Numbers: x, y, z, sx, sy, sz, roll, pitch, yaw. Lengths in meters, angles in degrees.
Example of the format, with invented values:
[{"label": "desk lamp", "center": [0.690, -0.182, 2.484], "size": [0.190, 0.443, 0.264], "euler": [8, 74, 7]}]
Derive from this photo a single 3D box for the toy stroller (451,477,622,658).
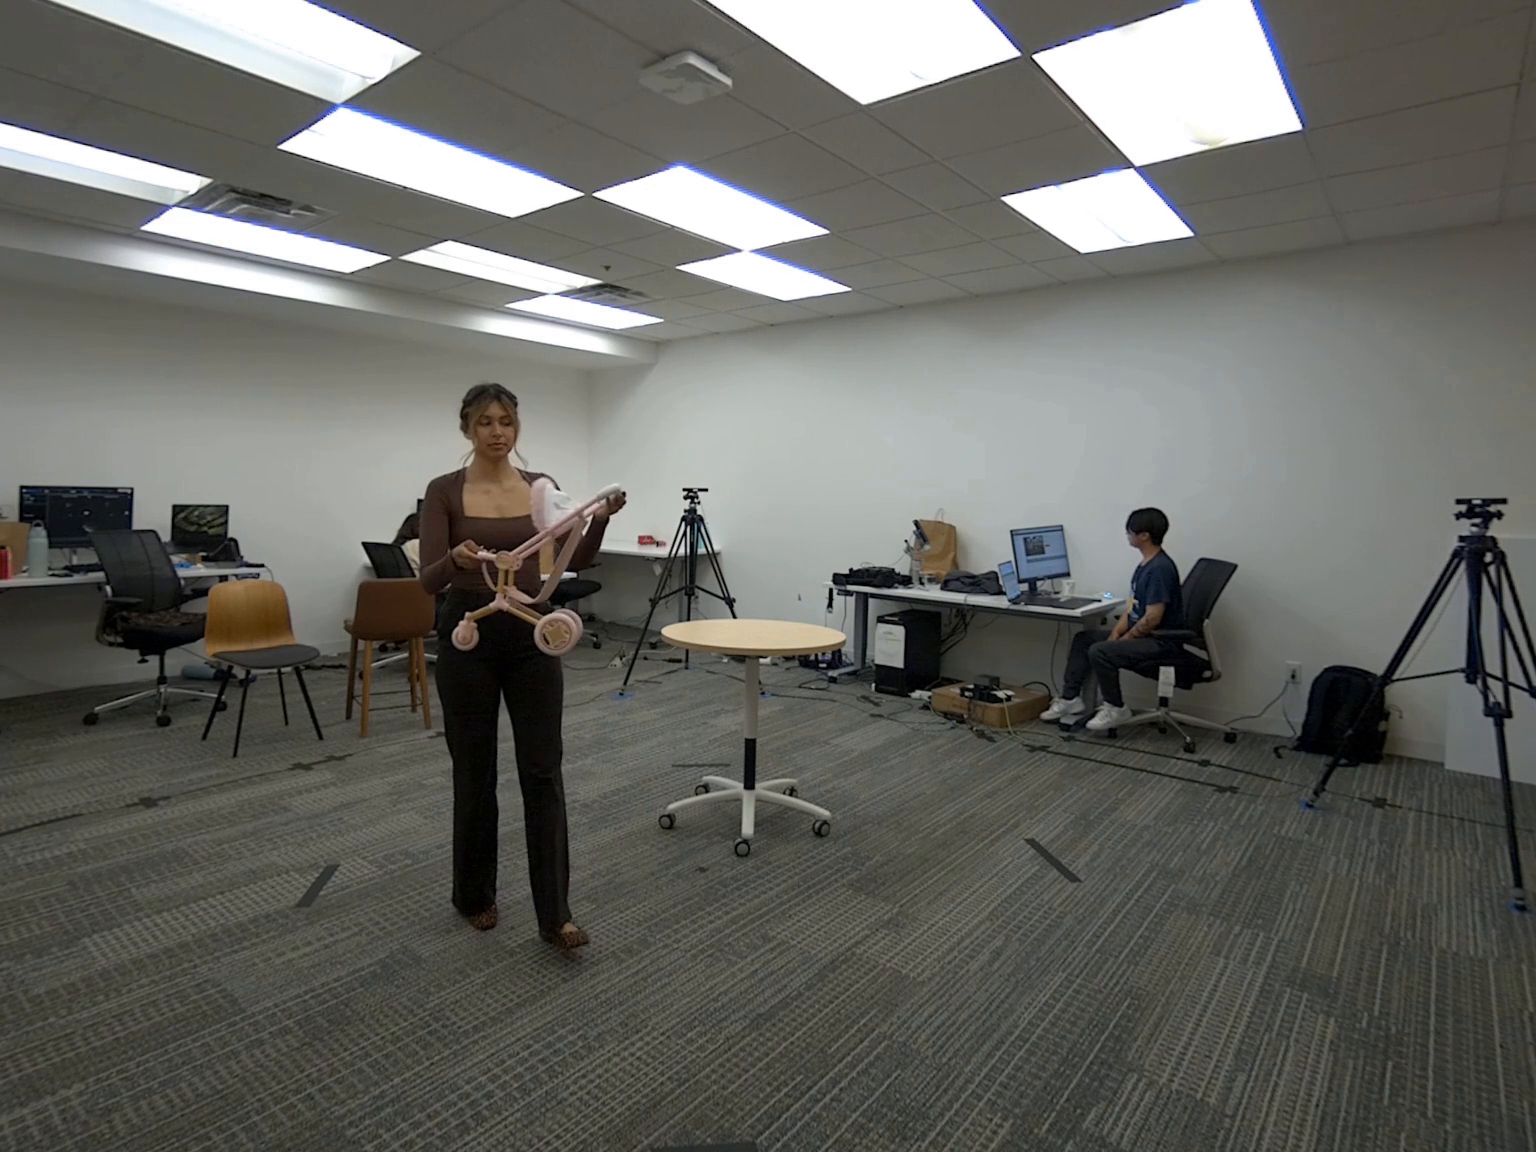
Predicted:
[{"label": "toy stroller", "center": [-0.641, -0.029, 2.313], "size": [0.341, 0.536, 0.281], "euler": [14, -4, -2]}]
